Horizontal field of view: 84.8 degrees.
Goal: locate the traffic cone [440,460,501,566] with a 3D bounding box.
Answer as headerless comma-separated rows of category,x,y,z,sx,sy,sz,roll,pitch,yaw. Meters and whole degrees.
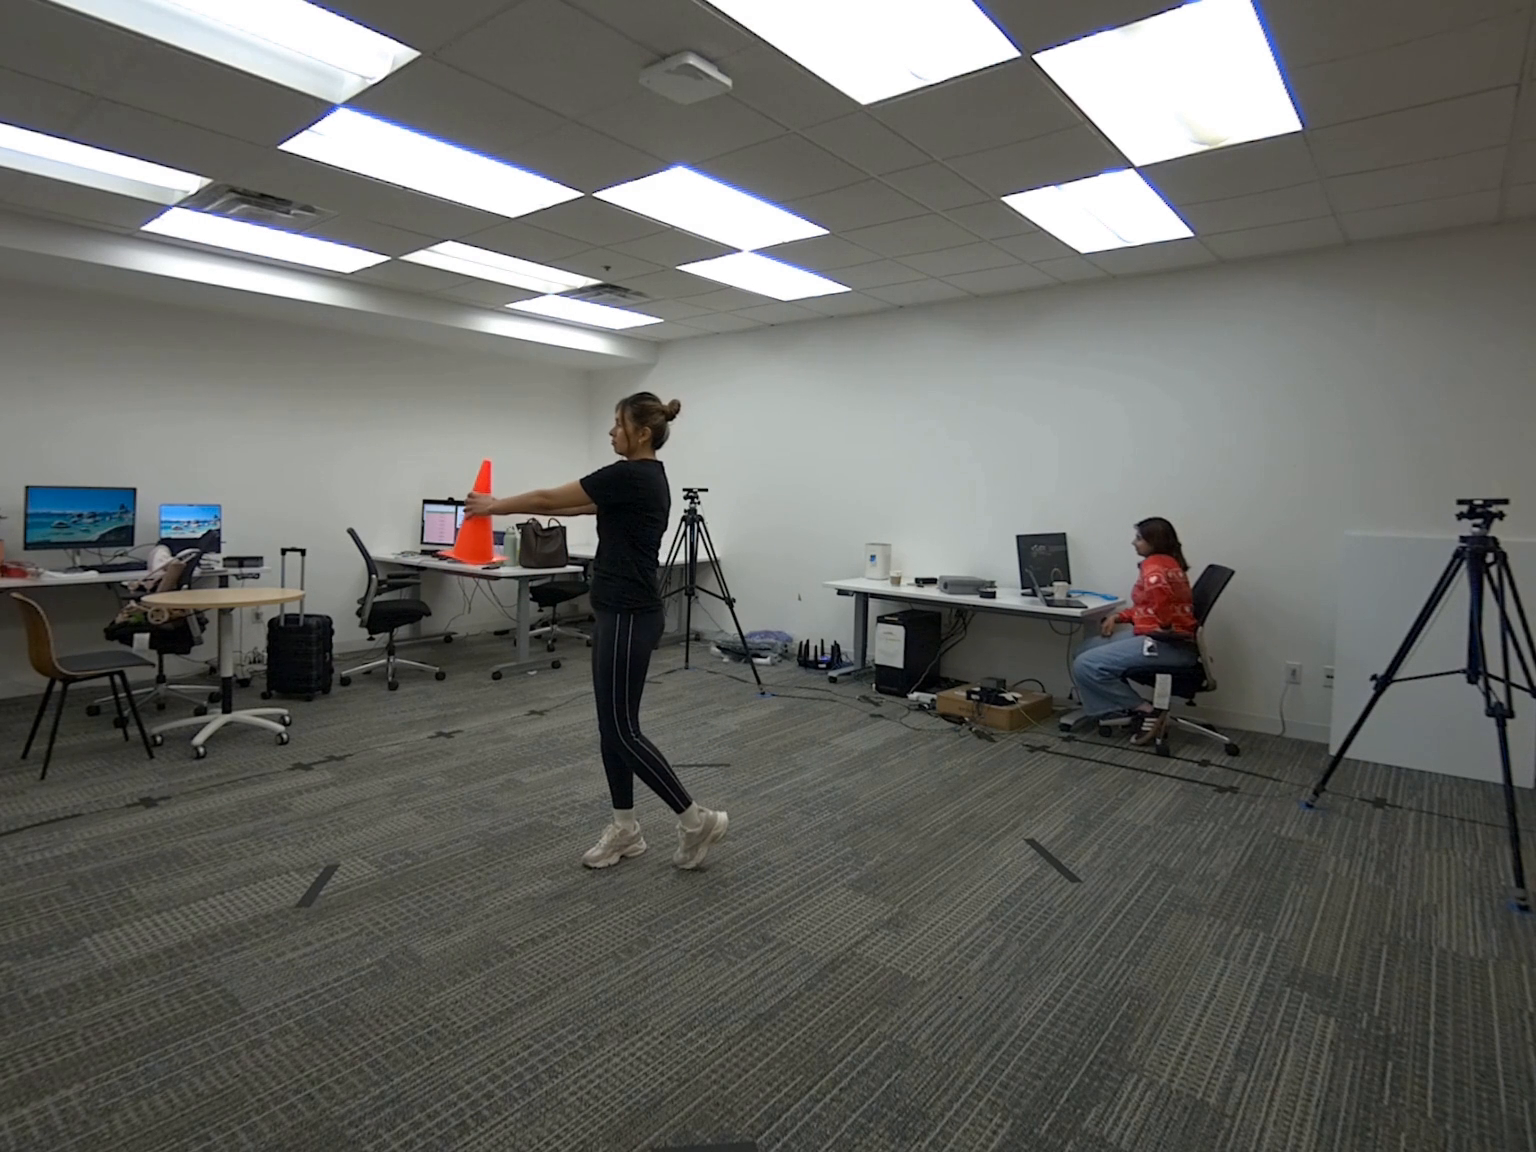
traffic cone,-1.123,-0.261,3.272,0.211,0.381,0.199,15,11,26
